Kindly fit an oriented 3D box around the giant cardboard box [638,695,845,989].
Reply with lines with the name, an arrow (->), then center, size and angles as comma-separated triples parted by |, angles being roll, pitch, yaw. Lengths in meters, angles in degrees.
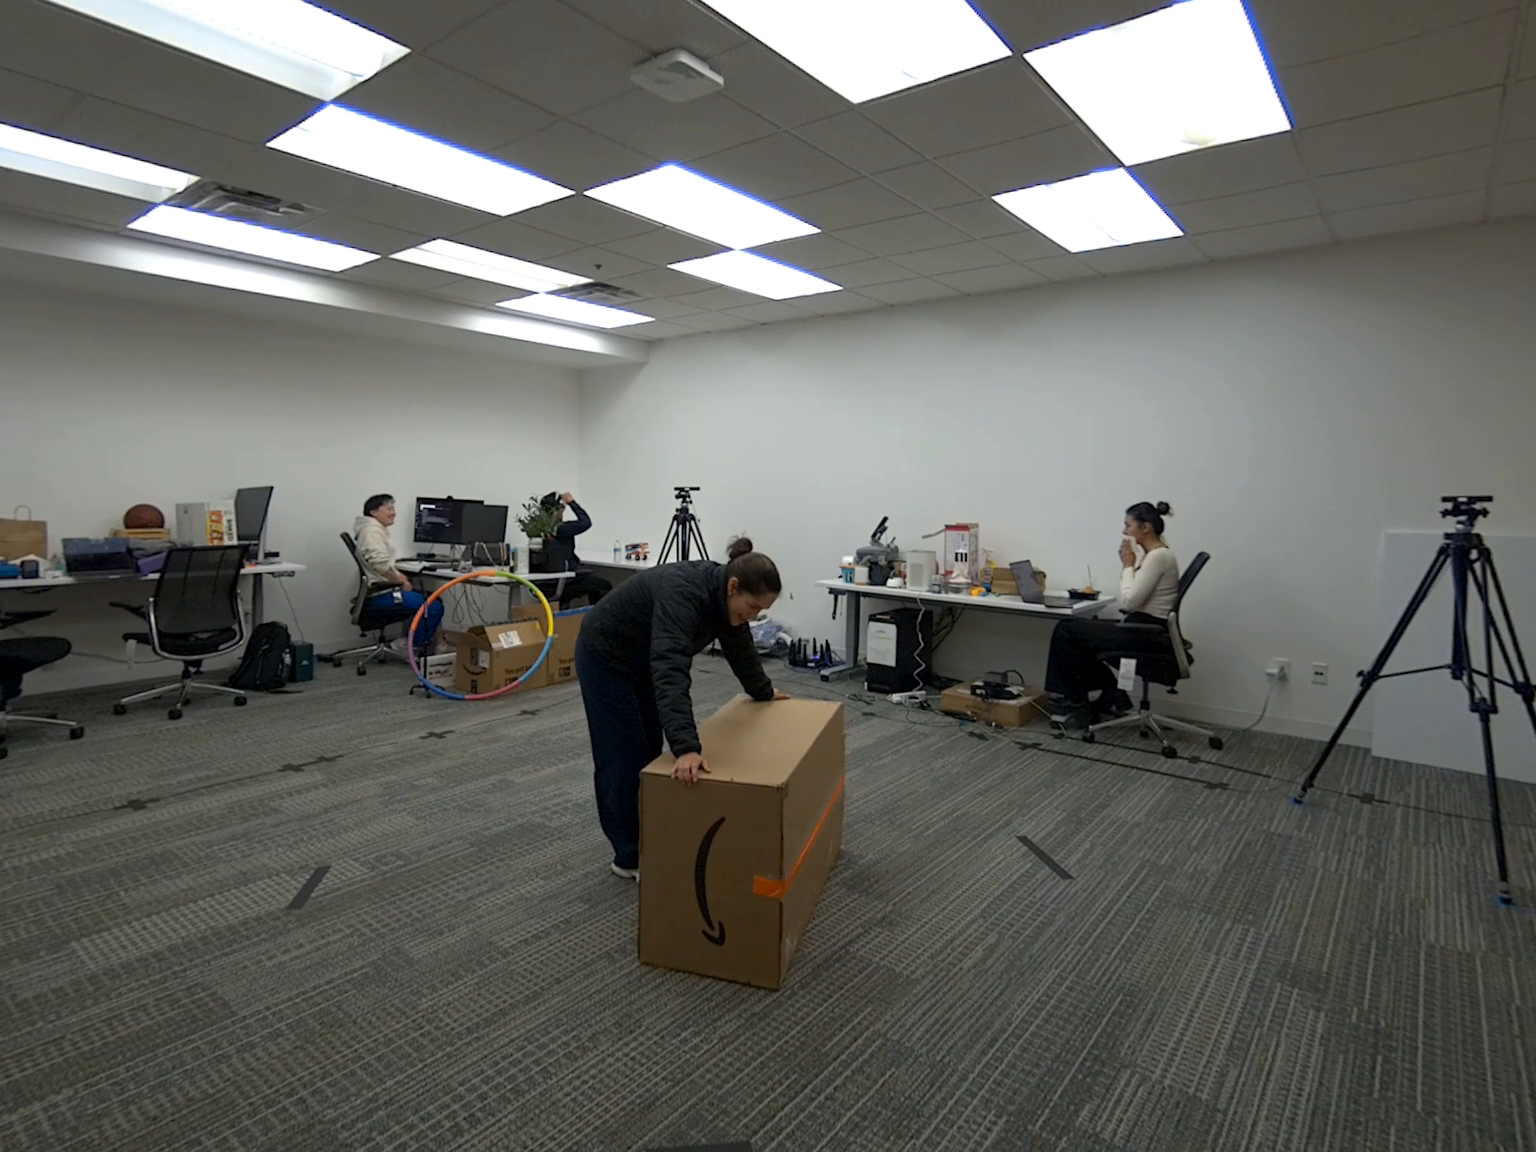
giant cardboard box -> -0.030, 0.805, 2.886 | 0.455, 0.582, 1.011 | 0, 4, 16
